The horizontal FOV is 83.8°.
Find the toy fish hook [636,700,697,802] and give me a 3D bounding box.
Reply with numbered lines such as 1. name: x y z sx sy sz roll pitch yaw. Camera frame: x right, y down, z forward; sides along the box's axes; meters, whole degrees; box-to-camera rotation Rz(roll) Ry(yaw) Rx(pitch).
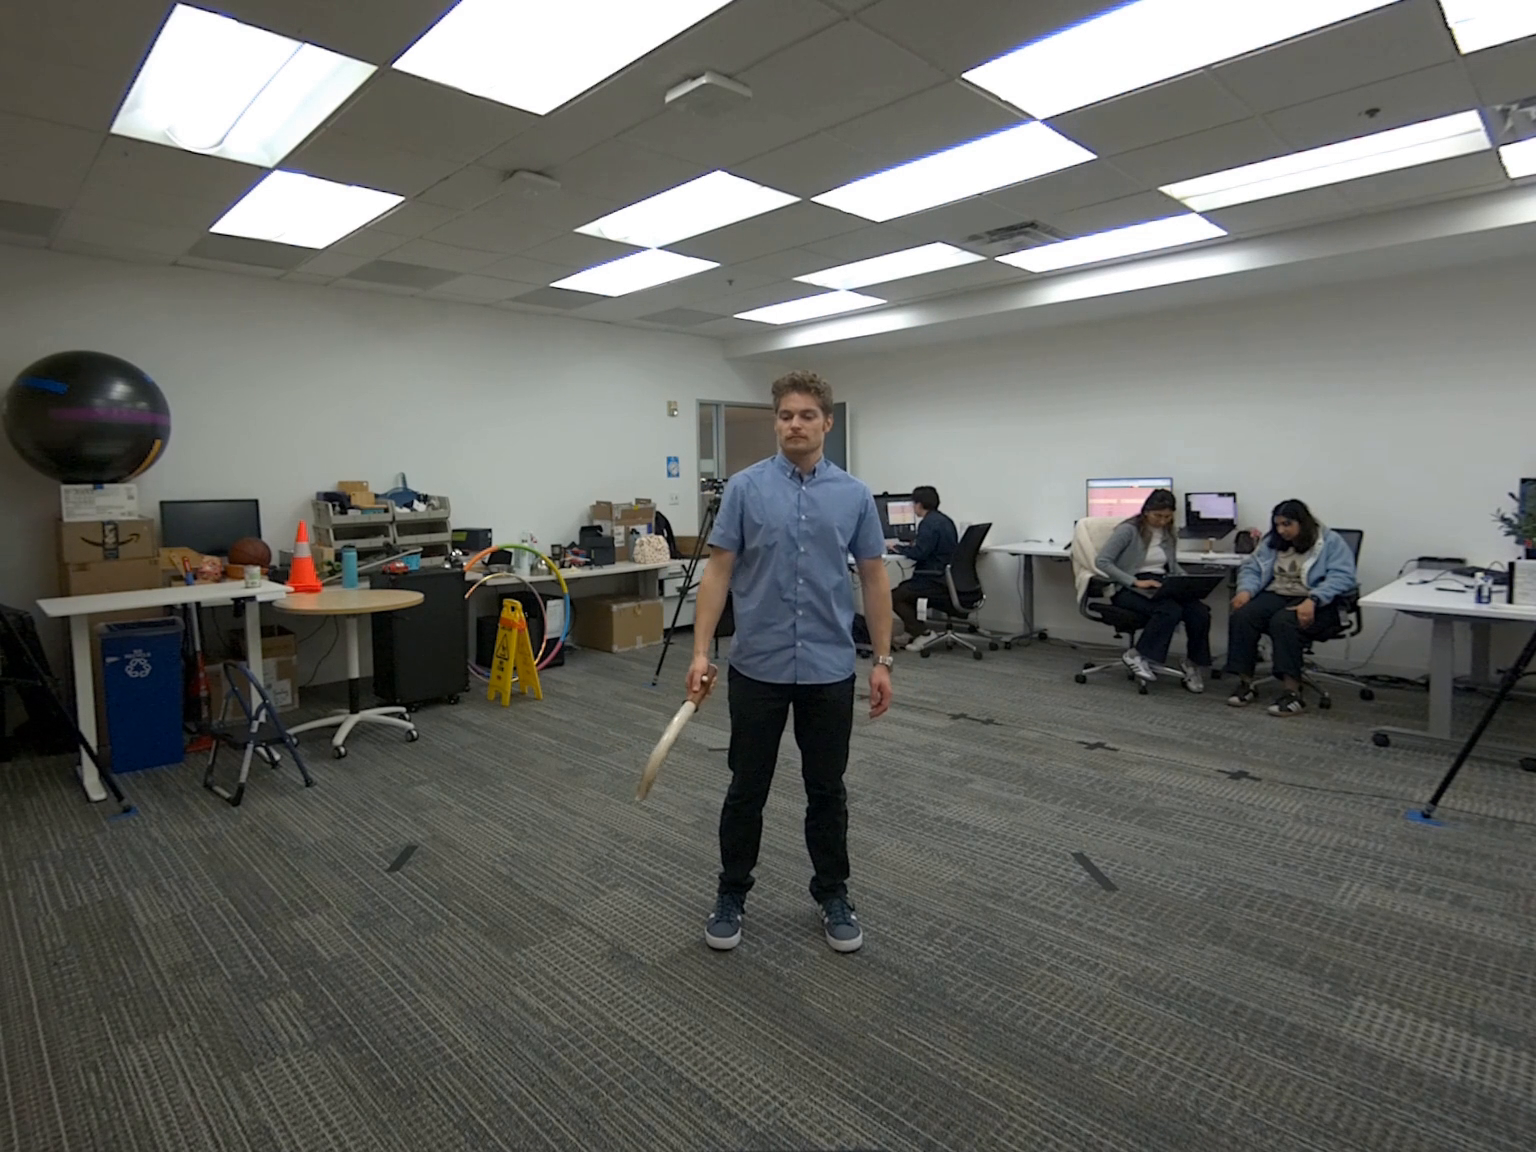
1. toy fish hook: -0.244 0.411 2.294 0.048 0.222 0.509 27 26 2
